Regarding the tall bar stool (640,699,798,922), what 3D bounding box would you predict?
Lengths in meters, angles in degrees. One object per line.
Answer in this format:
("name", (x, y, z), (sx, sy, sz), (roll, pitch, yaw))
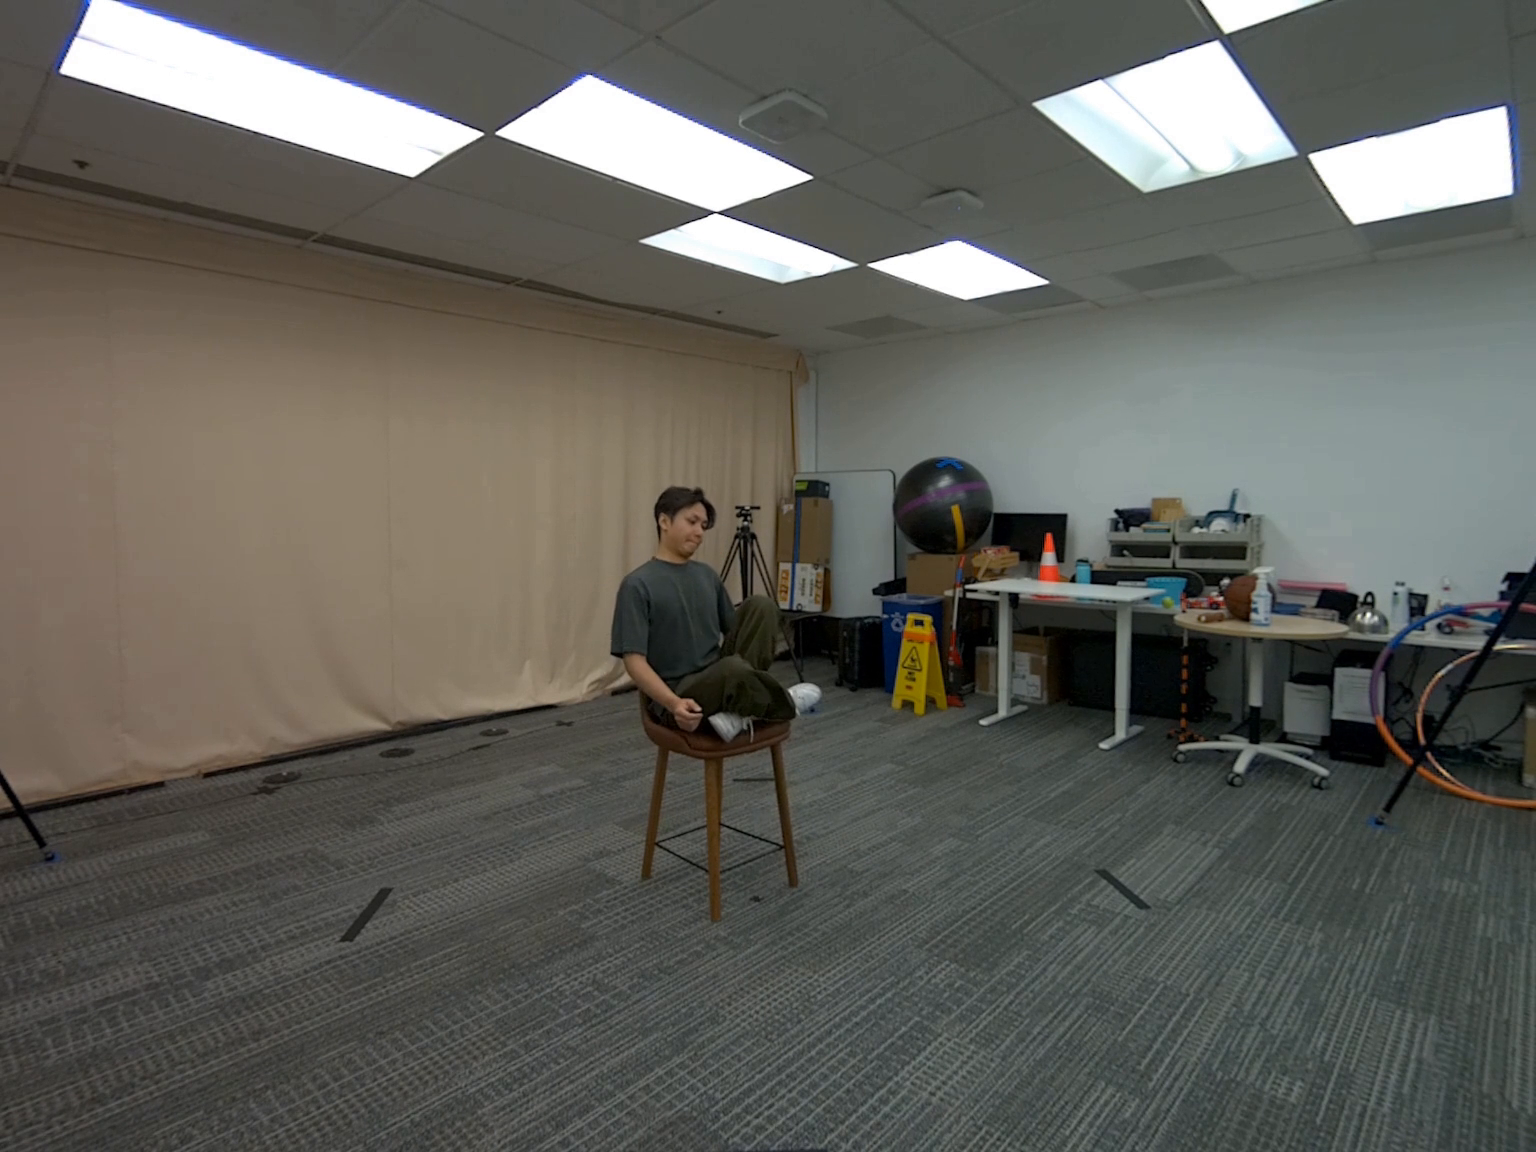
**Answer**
("tall bar stool", (-0.196, 0.700, 3.098), (0.442, 0.889, 0.483), (-4, 3, -43))
